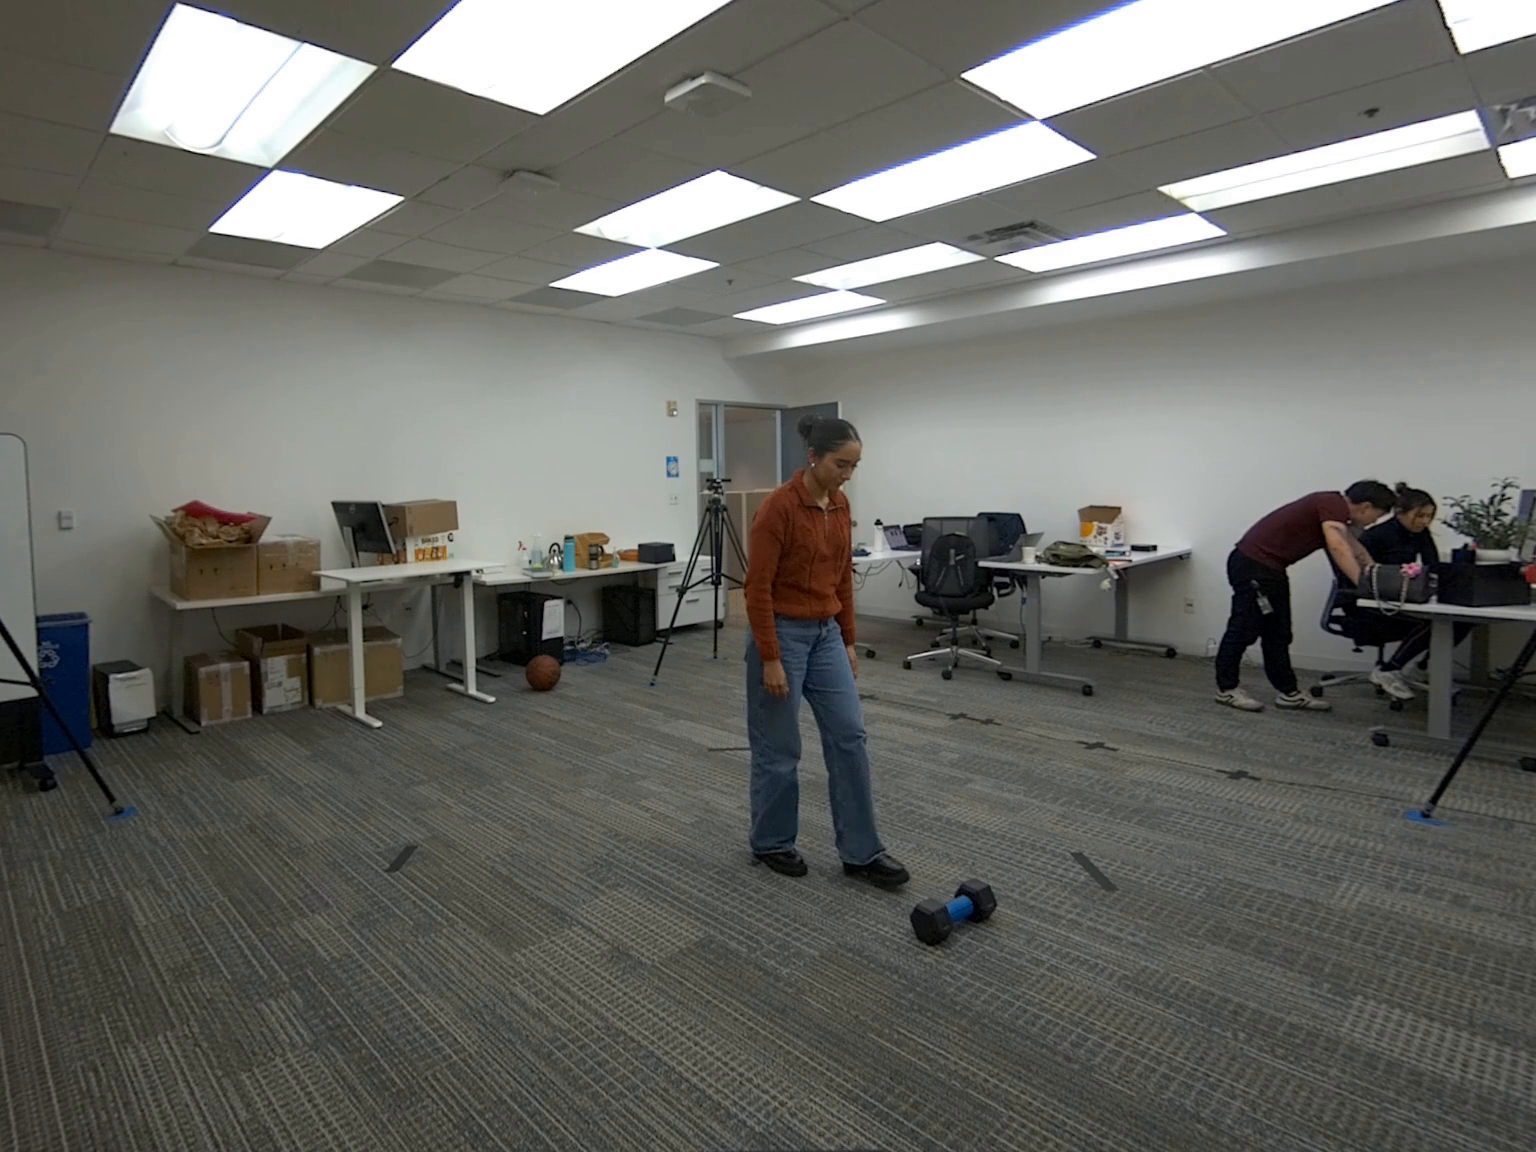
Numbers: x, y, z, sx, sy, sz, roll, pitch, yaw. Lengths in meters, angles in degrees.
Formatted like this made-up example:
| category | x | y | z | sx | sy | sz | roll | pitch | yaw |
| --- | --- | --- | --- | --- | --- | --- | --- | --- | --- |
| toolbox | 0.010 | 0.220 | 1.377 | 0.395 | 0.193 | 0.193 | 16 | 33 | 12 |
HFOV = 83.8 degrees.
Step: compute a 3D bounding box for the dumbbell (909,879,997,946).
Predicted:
| category | x | y | z | sx | sy | sz | roll | pitch | yaw |
| --- | --- | --- | --- | --- | --- | --- | --- | --- | --- |
| dumbbell | 0.582 | 1.035 | 2.630 | 0.286 | 0.121 | 0.113 | -6 | 35 | -37 |
